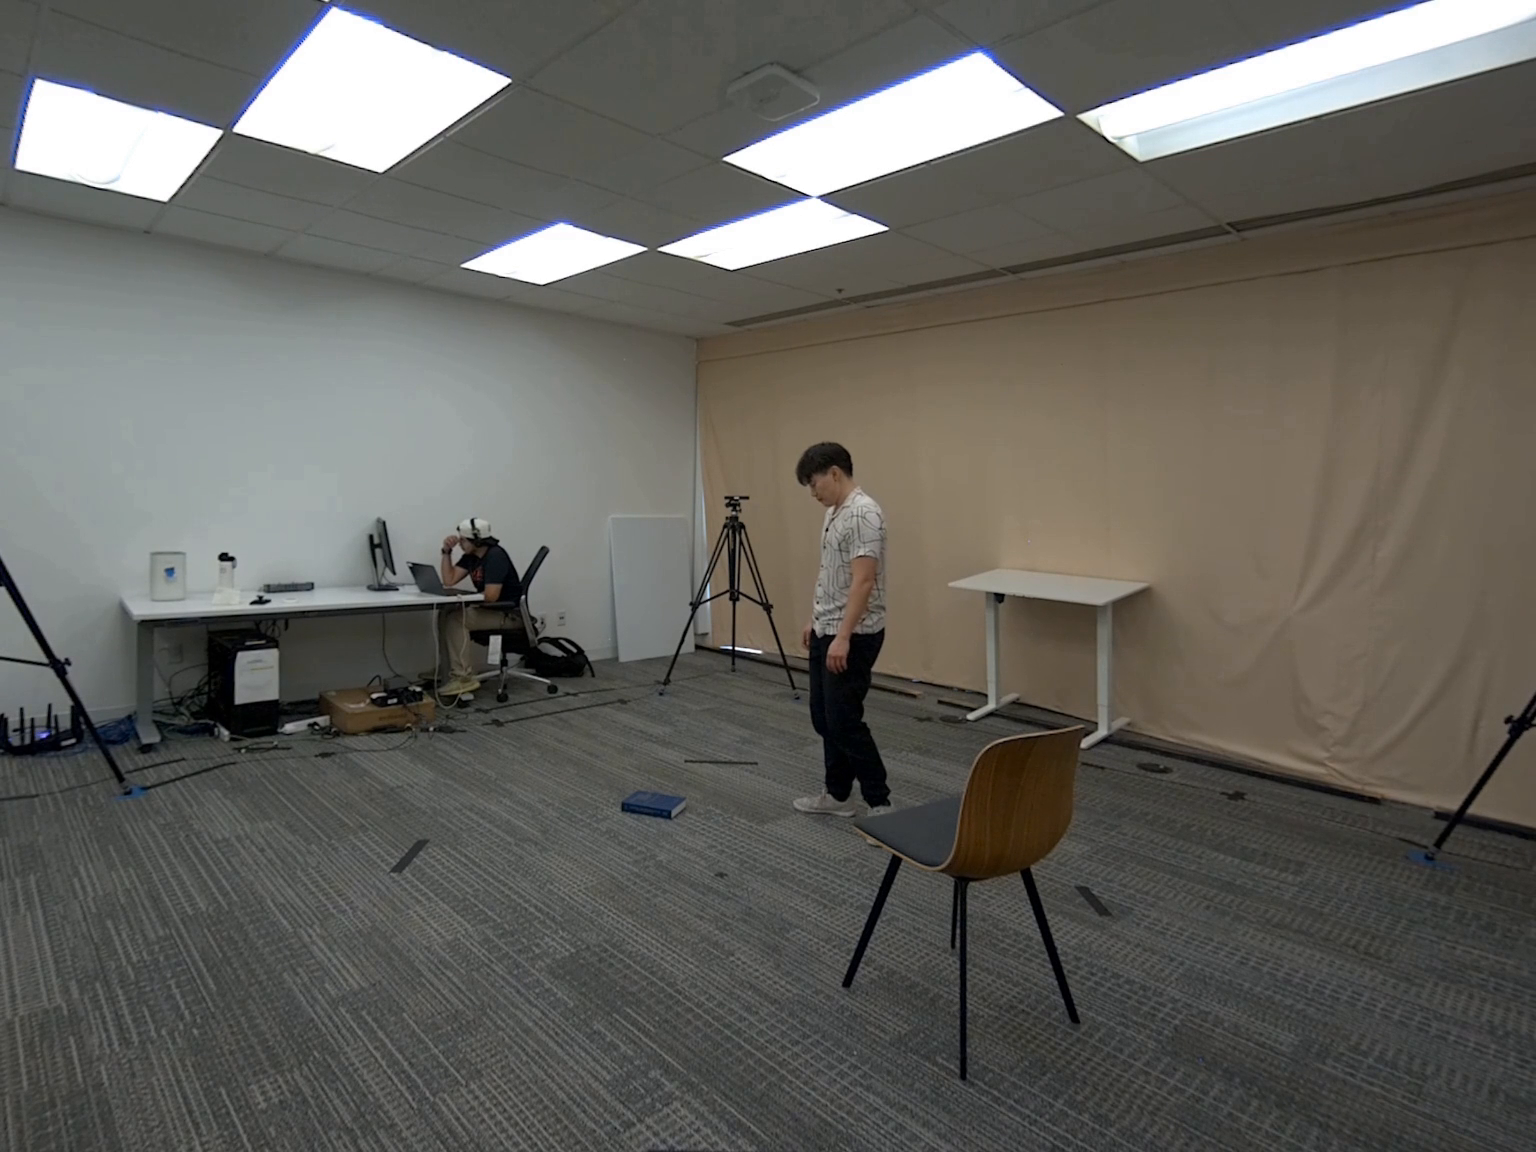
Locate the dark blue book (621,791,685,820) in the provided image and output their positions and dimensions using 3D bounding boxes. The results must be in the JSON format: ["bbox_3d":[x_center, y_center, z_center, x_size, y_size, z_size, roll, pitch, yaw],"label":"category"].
[{"bbox_3d":[-0.510,1.008,3.743,0.249,0.045,0.161,3,4,20],"label":"dark blue book"}]
